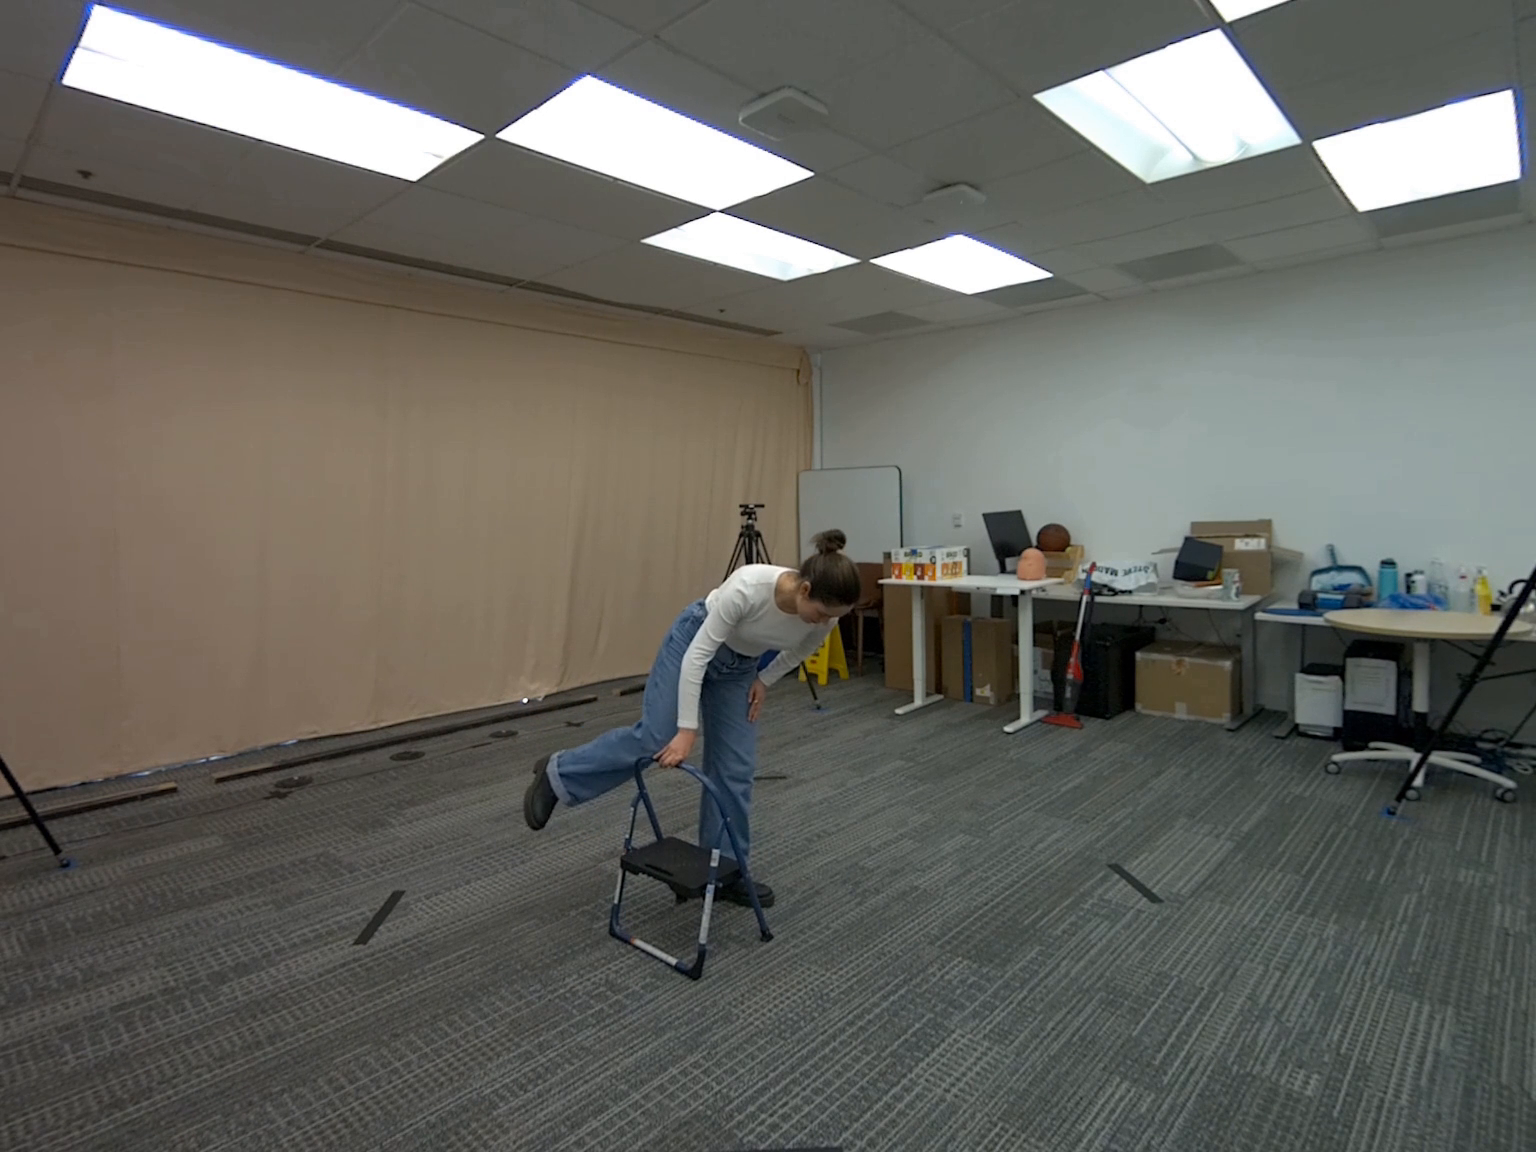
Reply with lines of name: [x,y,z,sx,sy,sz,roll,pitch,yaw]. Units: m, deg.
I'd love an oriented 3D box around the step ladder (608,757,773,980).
step ladder: [-0.260,0.870,2.705,0.445,0.604,0.339,3,6,41]
